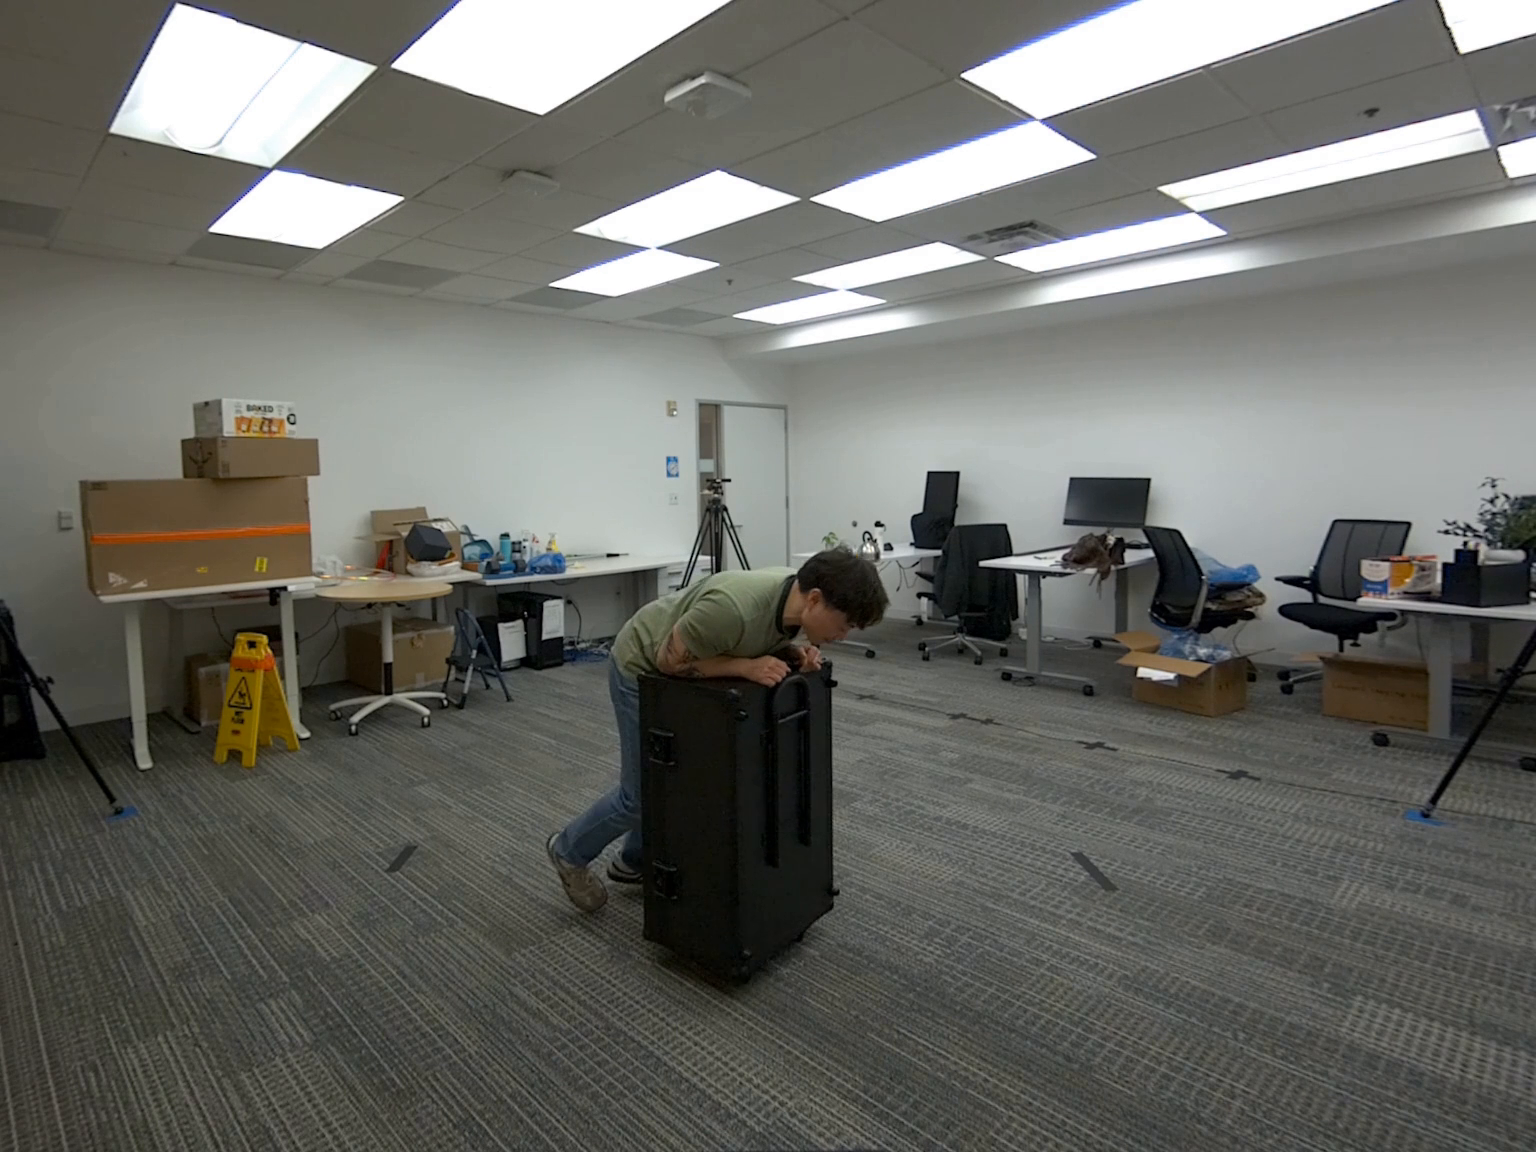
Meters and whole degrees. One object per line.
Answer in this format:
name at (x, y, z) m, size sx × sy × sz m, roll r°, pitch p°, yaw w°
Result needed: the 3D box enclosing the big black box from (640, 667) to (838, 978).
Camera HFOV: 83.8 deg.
big black box at (-0.069, 0.693, 2.531) m, size 0.408 × 0.858 × 0.508 m, roll 4°, pitch 6°, yaw 37°
